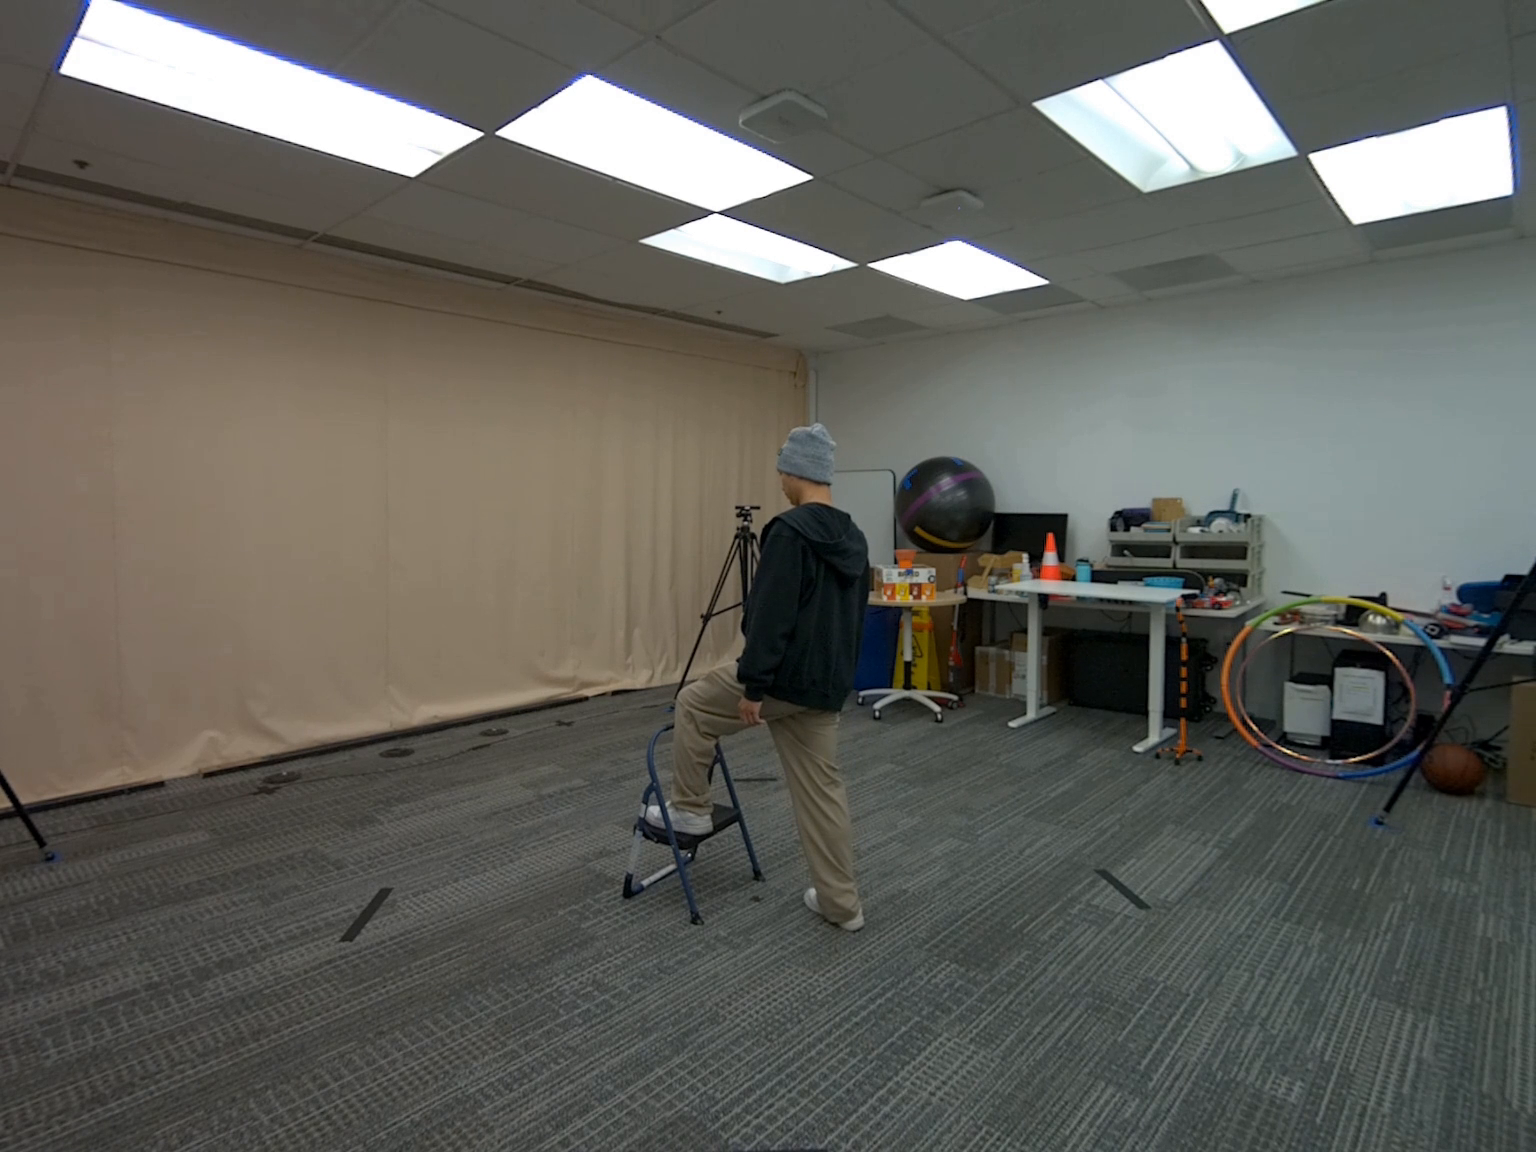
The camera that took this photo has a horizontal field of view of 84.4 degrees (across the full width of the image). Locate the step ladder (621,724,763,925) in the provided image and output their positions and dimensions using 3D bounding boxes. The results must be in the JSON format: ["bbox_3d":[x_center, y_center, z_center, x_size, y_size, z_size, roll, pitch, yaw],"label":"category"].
[{"bbox_3d":[-0.270,0.838,3.055,0.360,0.605,0.418,1,4,33],"label":"step ladder"}]
